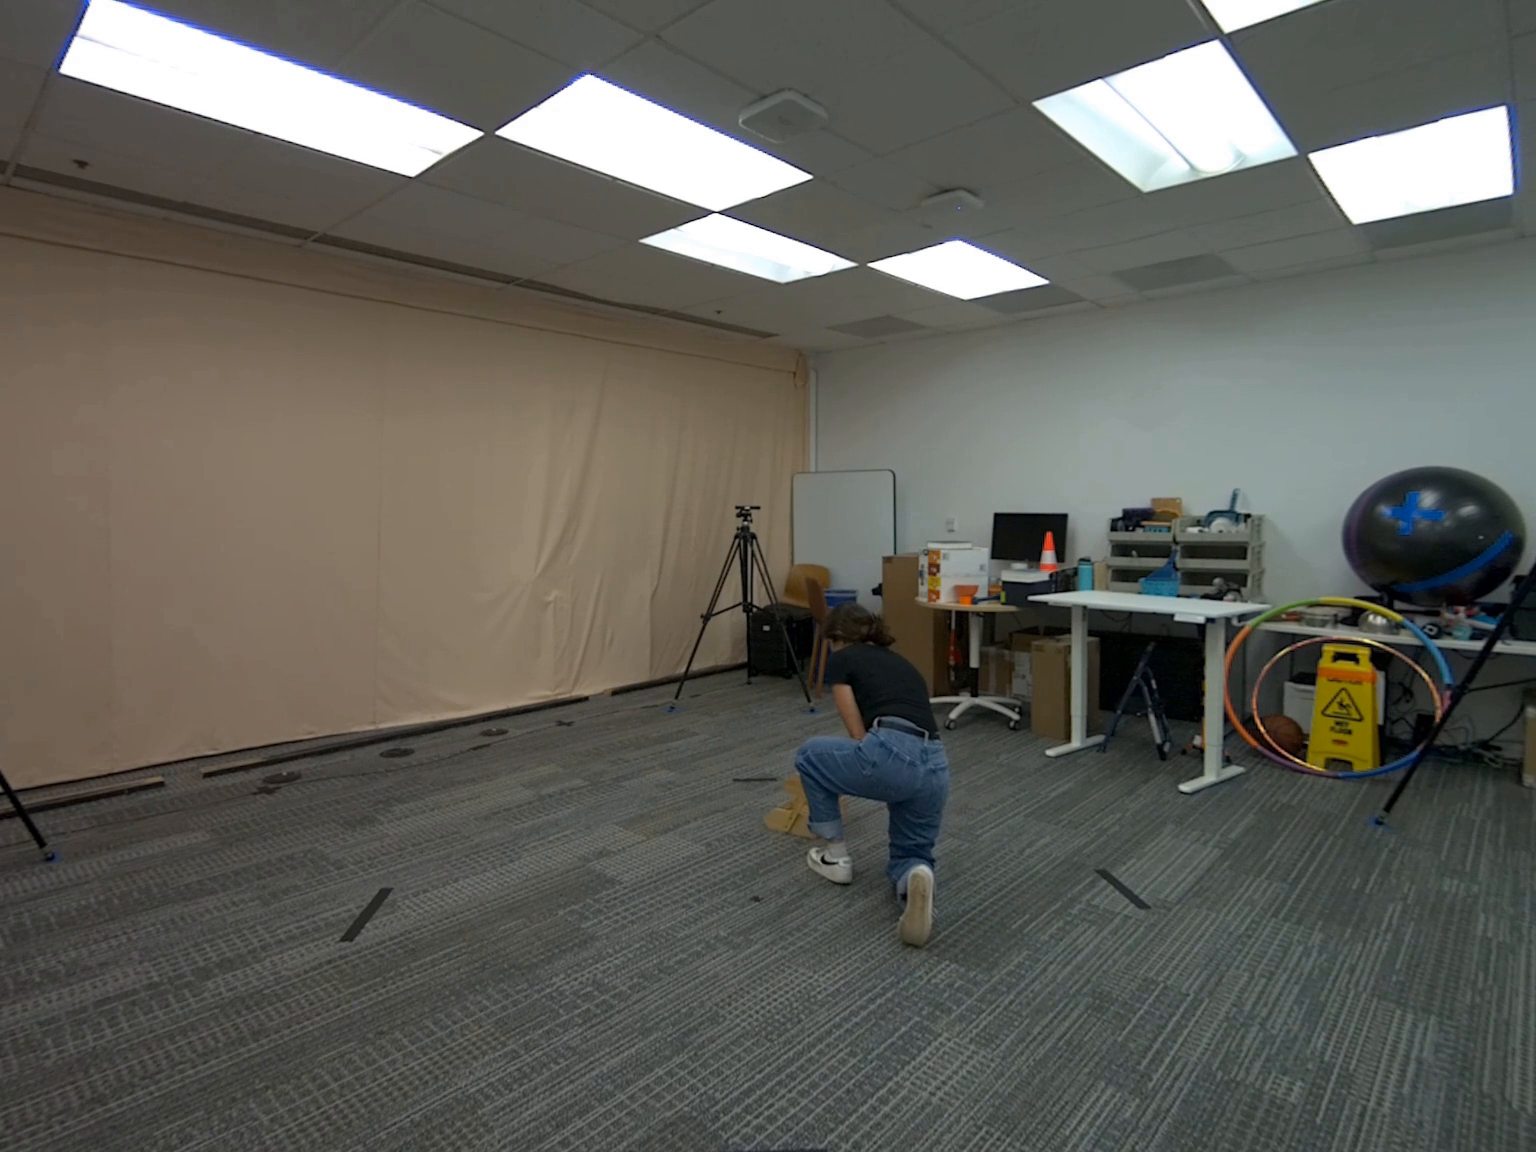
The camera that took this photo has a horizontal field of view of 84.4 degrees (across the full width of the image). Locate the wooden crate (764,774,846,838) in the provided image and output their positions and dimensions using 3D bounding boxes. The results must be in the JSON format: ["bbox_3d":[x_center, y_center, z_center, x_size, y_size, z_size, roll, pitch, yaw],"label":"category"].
[{"bbox_3d":[0.184,0.951,3.690,0.311,0.273,0.315,3,5,31],"label":"wooden crate"}]
